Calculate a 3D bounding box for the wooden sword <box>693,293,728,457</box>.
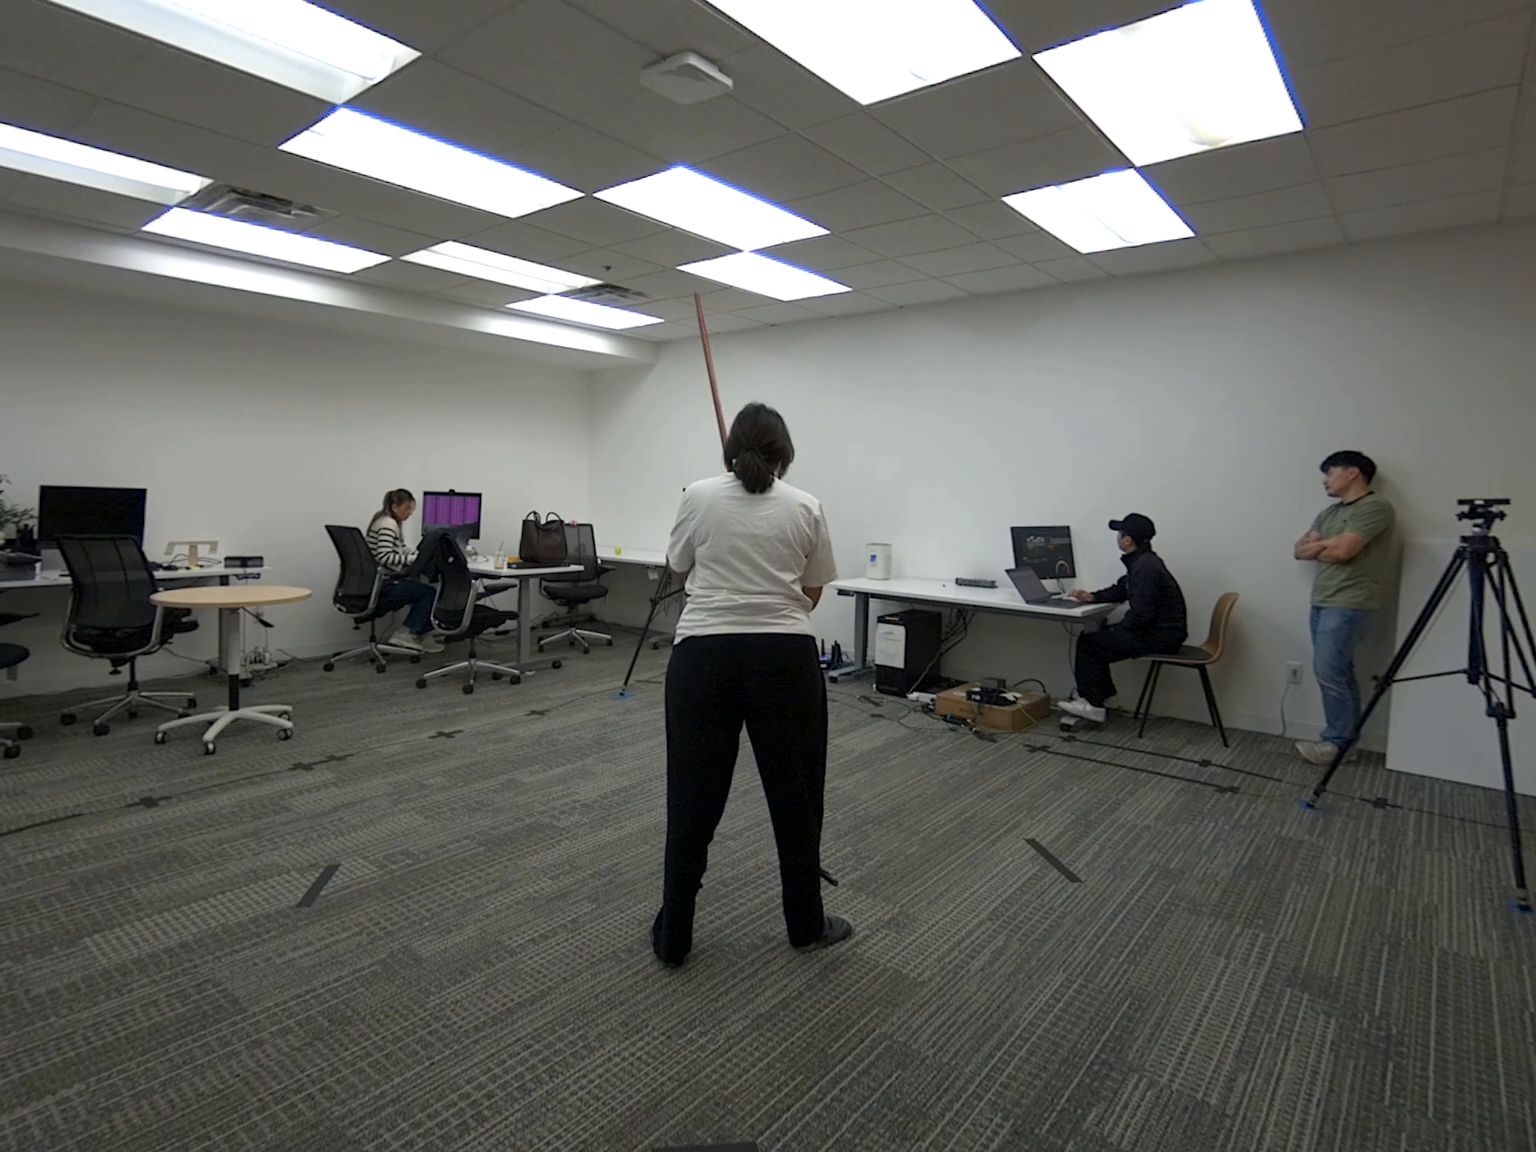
[{"bbox_3d":[-0.177,-0.556,3.007,0.024,1.042,0.049,-20,-16,28],"label":"wooden sword"}]
